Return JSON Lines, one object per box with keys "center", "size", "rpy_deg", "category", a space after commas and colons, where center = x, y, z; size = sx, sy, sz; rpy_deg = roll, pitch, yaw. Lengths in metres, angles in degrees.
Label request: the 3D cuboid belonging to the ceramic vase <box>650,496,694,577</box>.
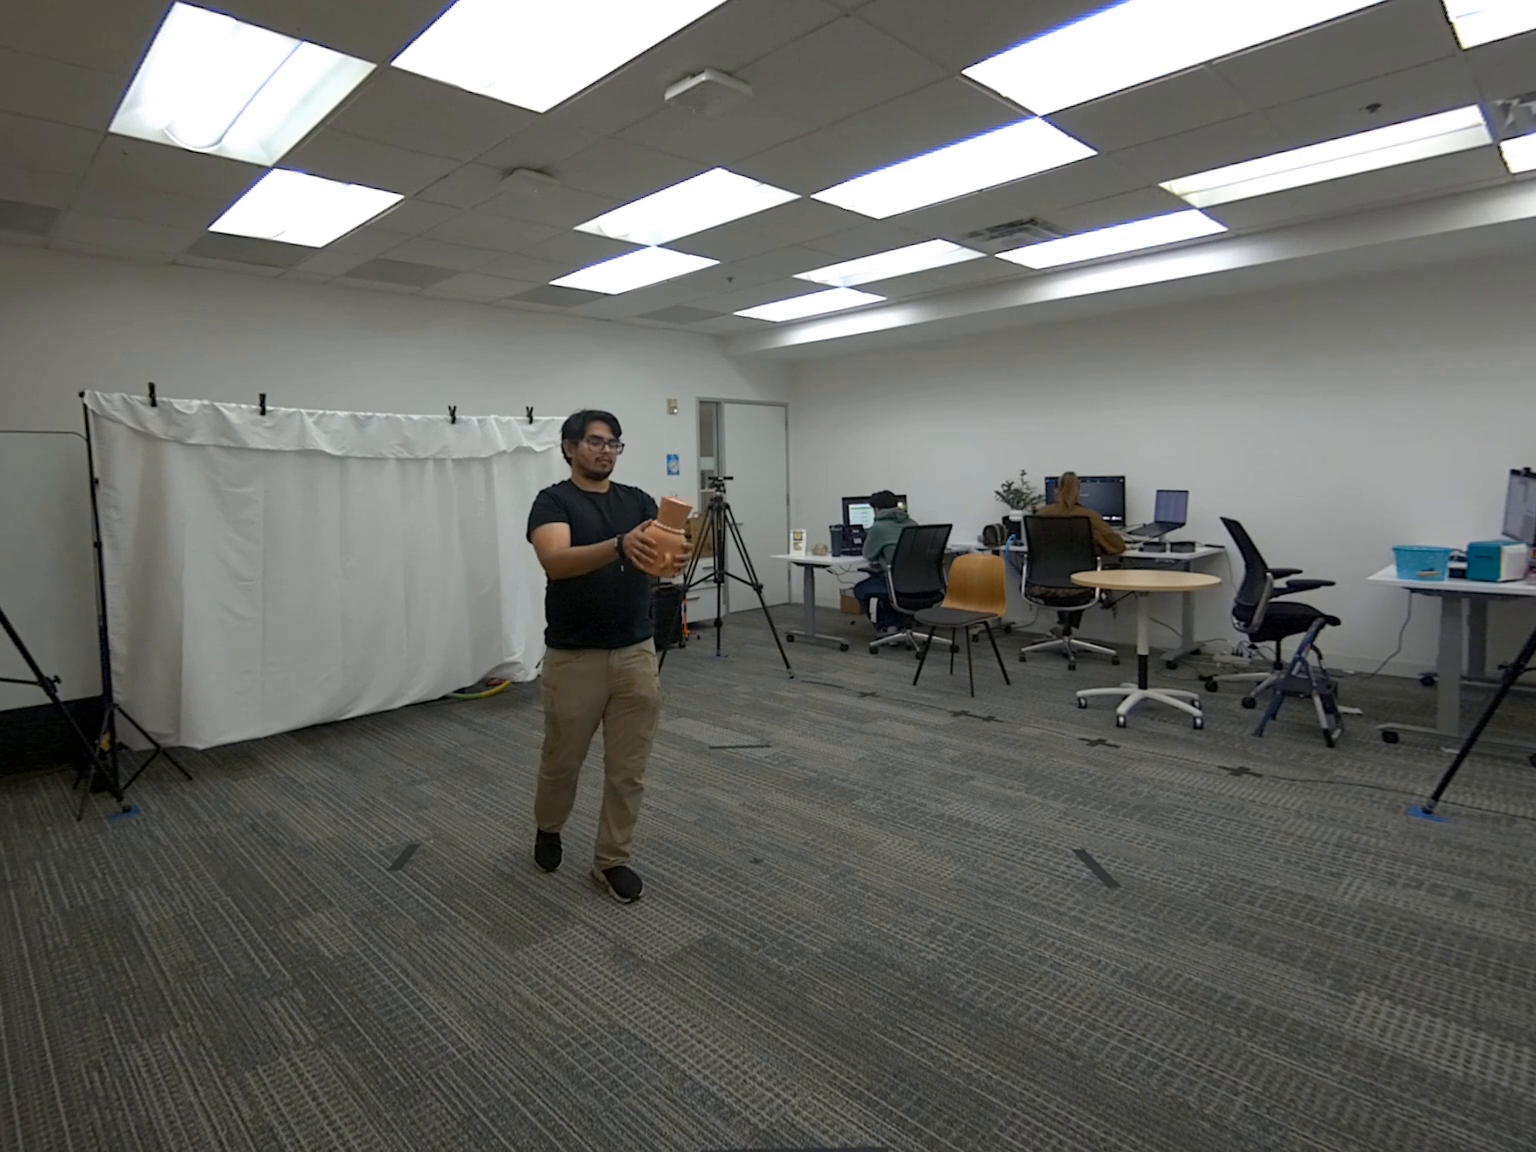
{"center": [-0.311, -0.117, 2.527], "size": [0.164, 0.219, 0.131], "rpy_deg": [21, 7, 30], "category": "ceramic vase"}
